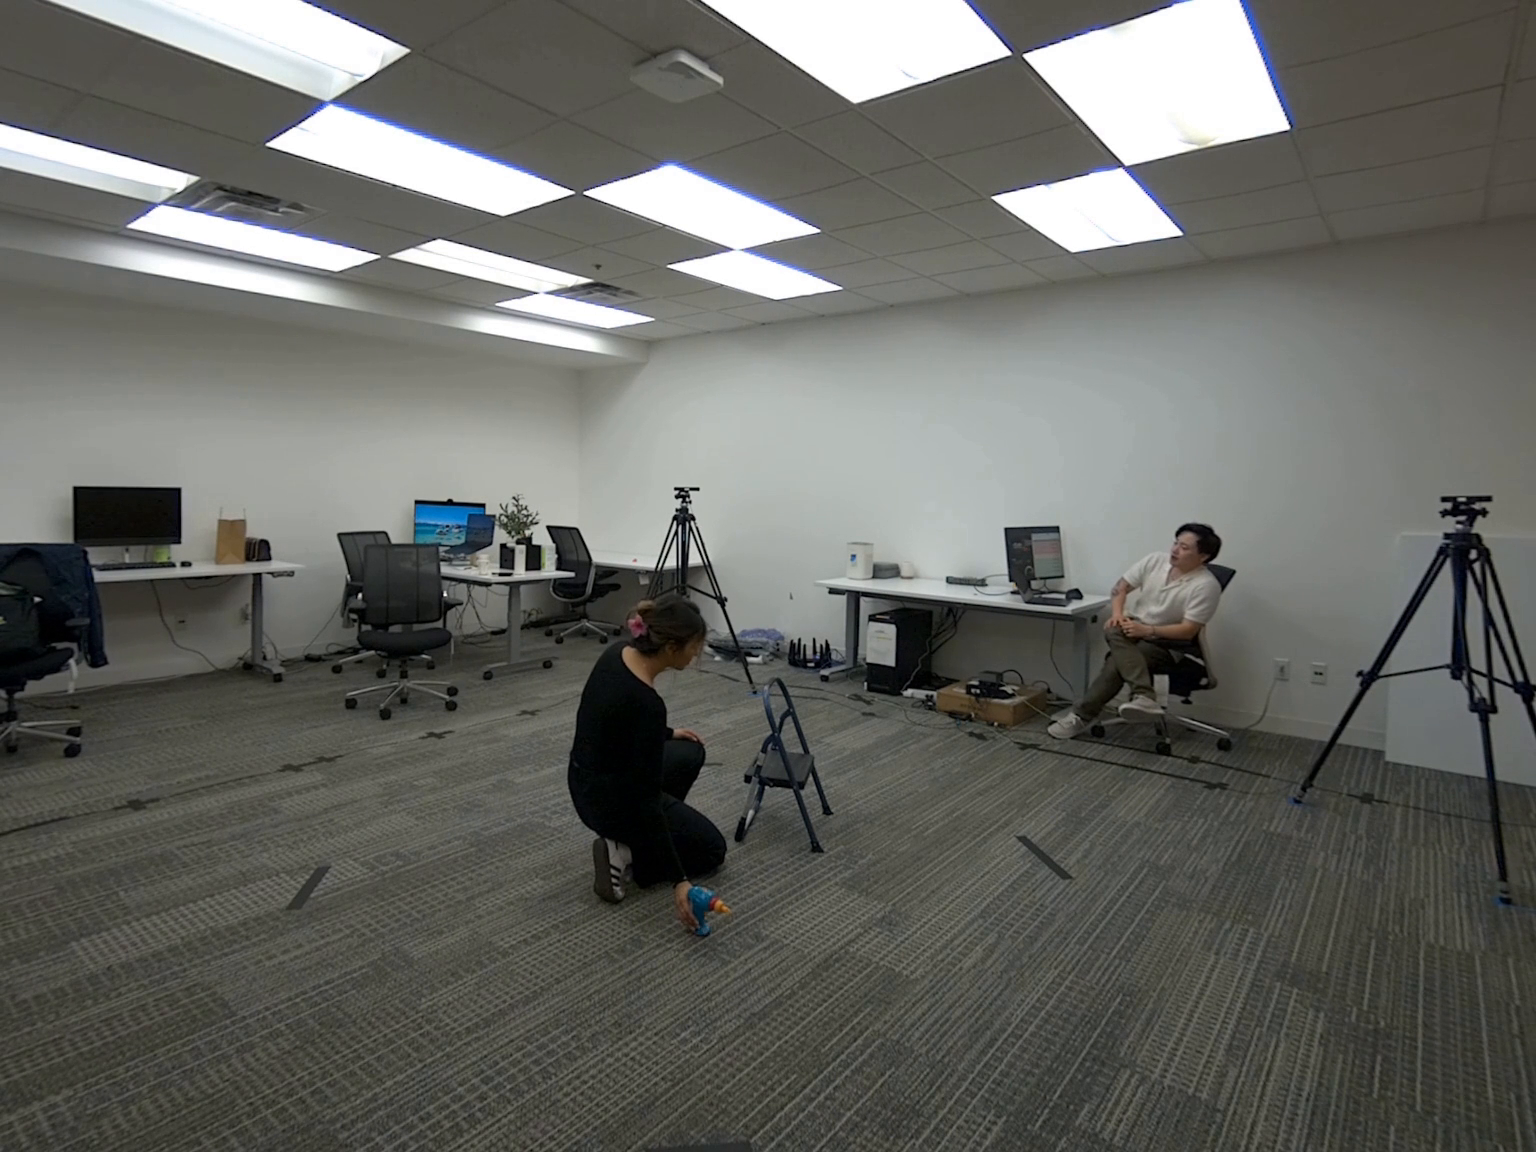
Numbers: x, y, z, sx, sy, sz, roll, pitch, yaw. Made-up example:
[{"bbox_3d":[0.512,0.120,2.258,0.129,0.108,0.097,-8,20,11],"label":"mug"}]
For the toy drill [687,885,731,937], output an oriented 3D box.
[{"bbox_3d":[-0.189,1.043,2.628,0.176,0.145,0.059,8,8,37],"label":"toy drill"}]
